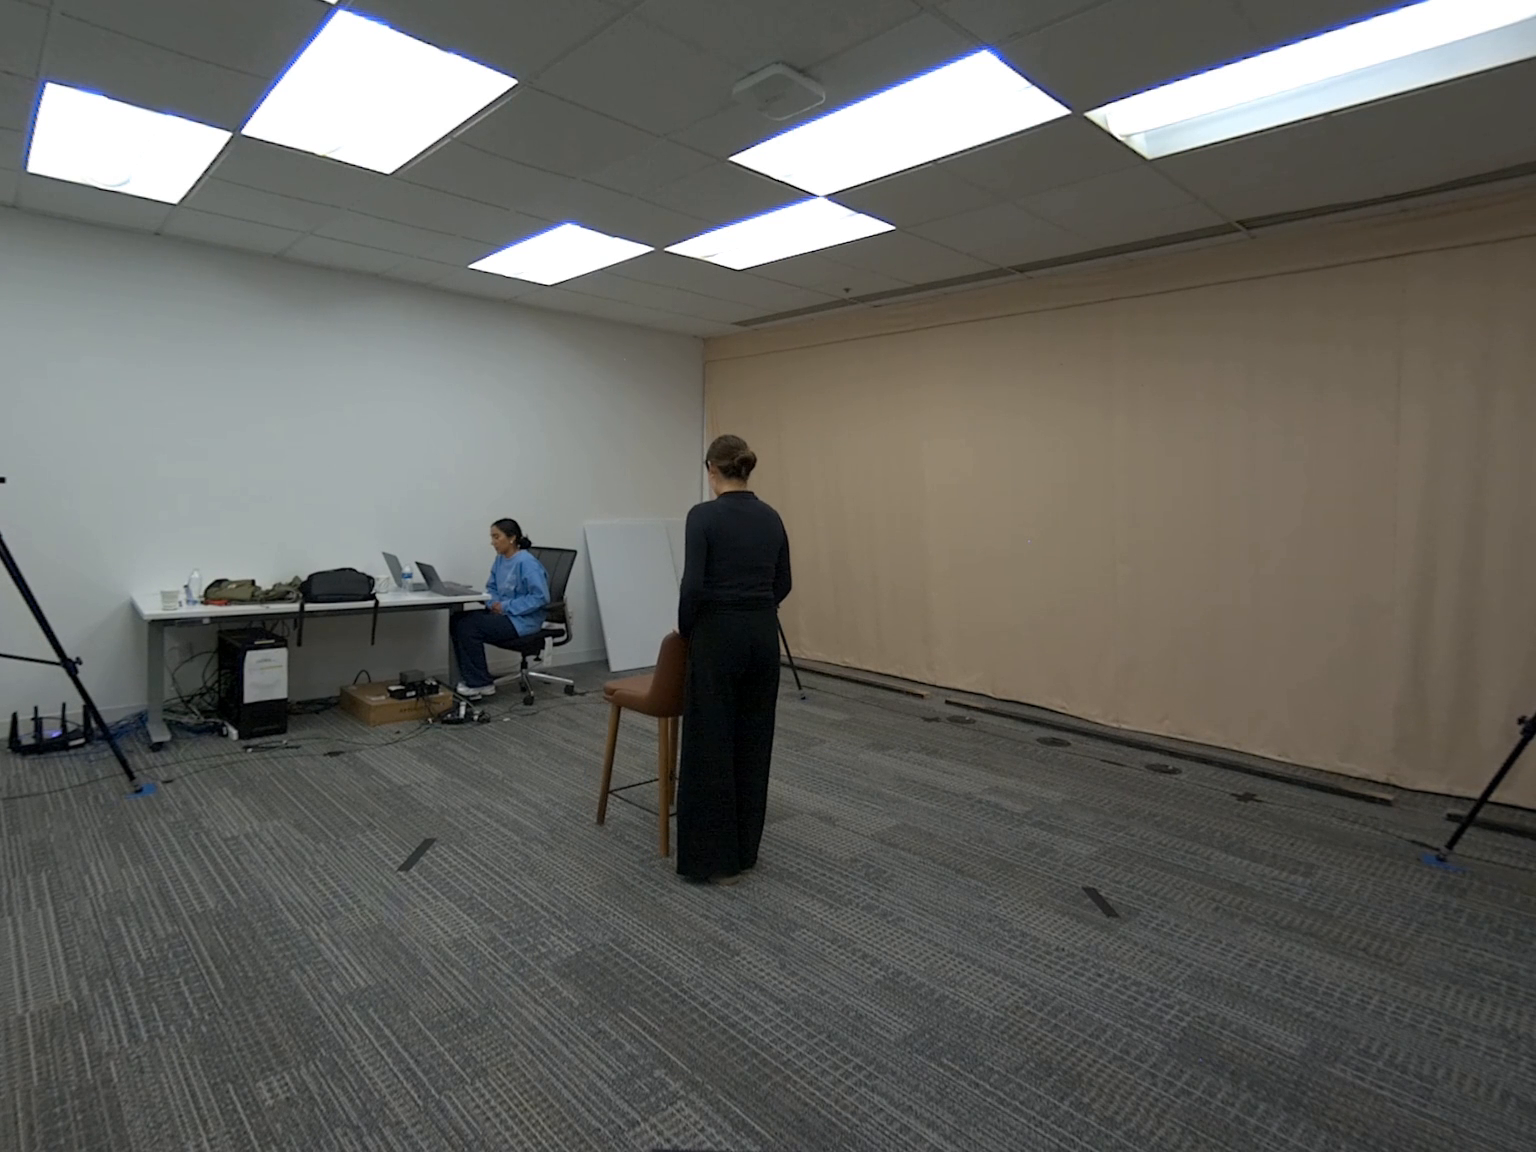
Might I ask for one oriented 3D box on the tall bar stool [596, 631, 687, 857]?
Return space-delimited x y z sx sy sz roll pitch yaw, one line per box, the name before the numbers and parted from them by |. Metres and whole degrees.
tall bar stool | -0.407 0.620 3.494 0.446 0.886 0.480 -1 7 -43
